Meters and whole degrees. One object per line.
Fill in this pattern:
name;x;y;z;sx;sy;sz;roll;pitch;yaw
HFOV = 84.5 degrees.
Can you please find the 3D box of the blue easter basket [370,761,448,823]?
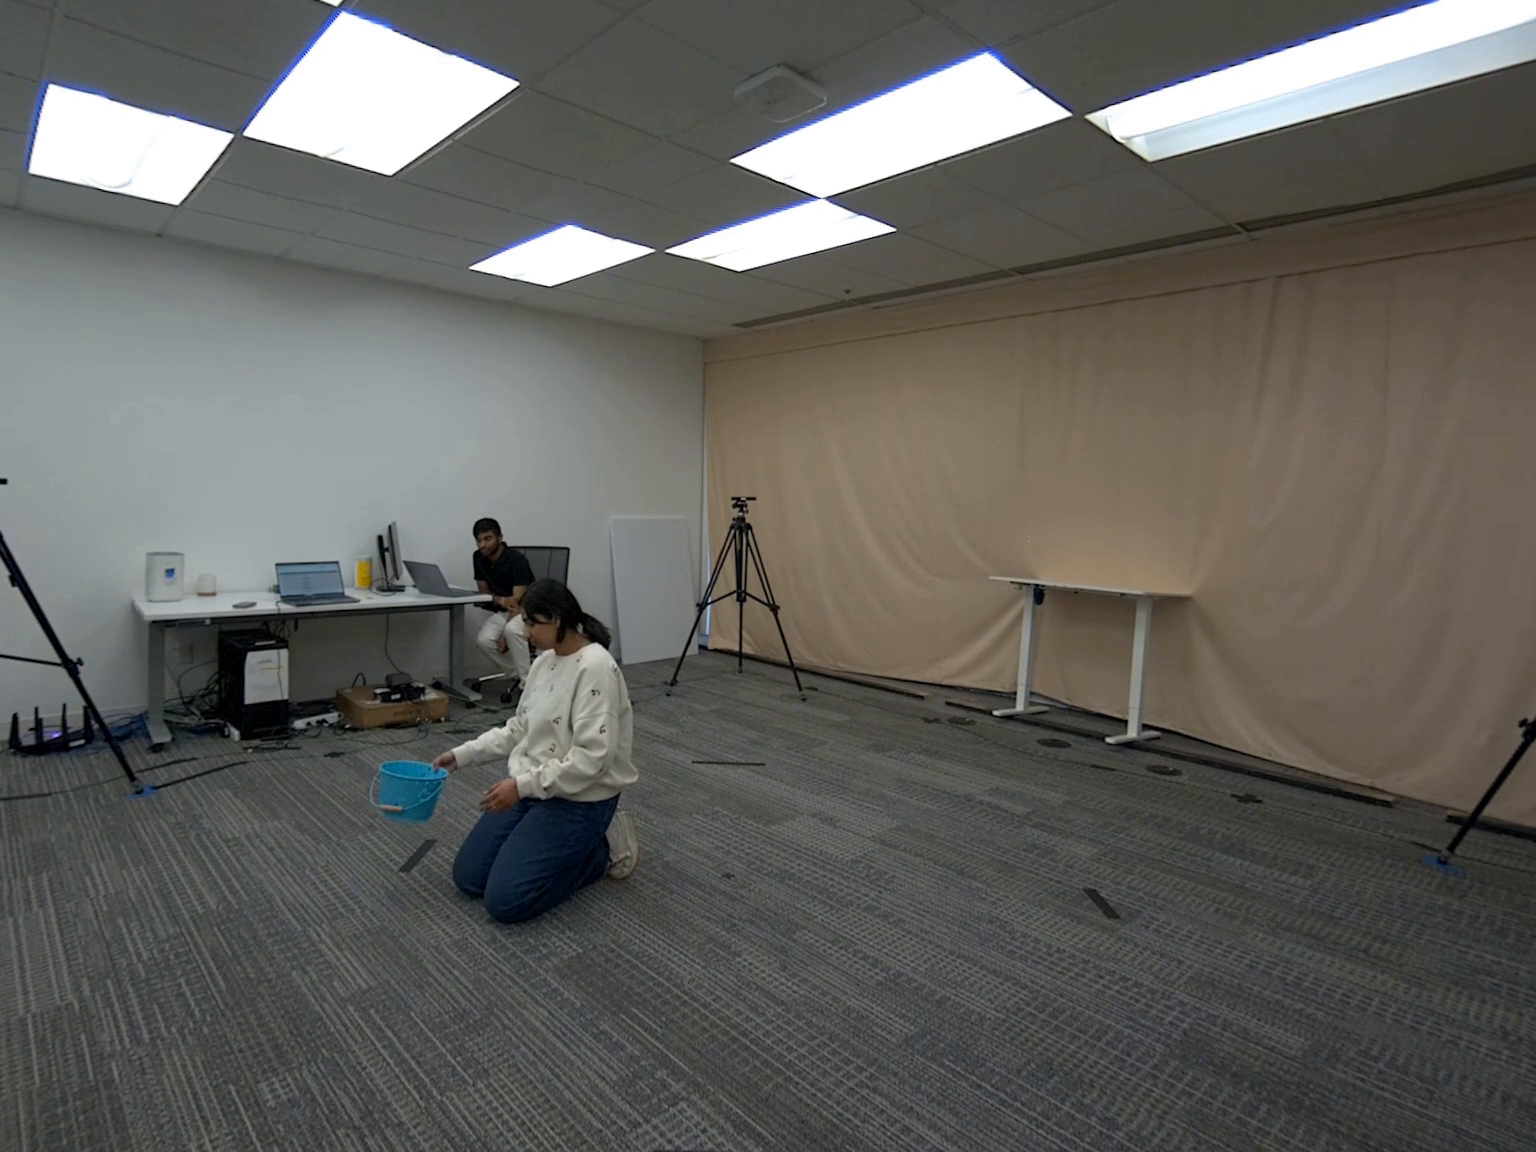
blue easter basket;-1.246;0.749;2.915;0.243;0.156;0.243;10;-4;-1
